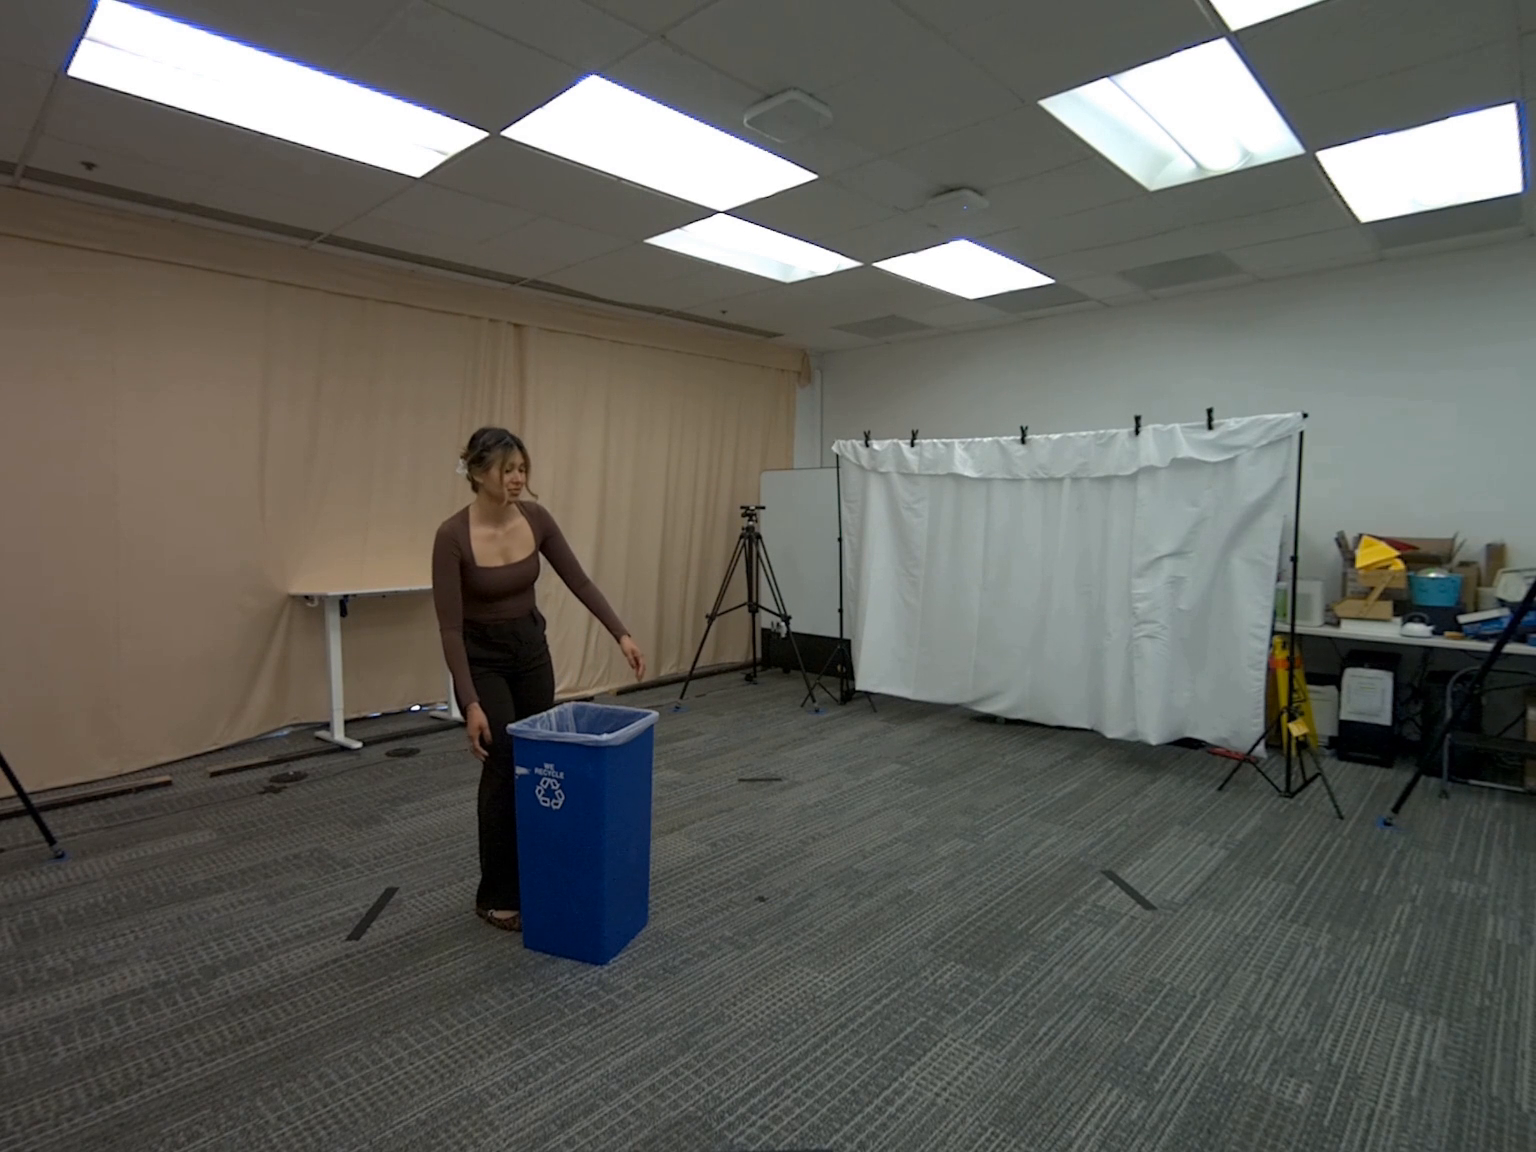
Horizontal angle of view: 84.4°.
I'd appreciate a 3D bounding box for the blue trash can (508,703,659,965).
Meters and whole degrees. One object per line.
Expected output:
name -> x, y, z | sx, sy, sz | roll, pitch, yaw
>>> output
blue trash can -> -0.581, 0.812, 2.719 | 0.383, 0.712, 0.370 | 1, 3, 22
